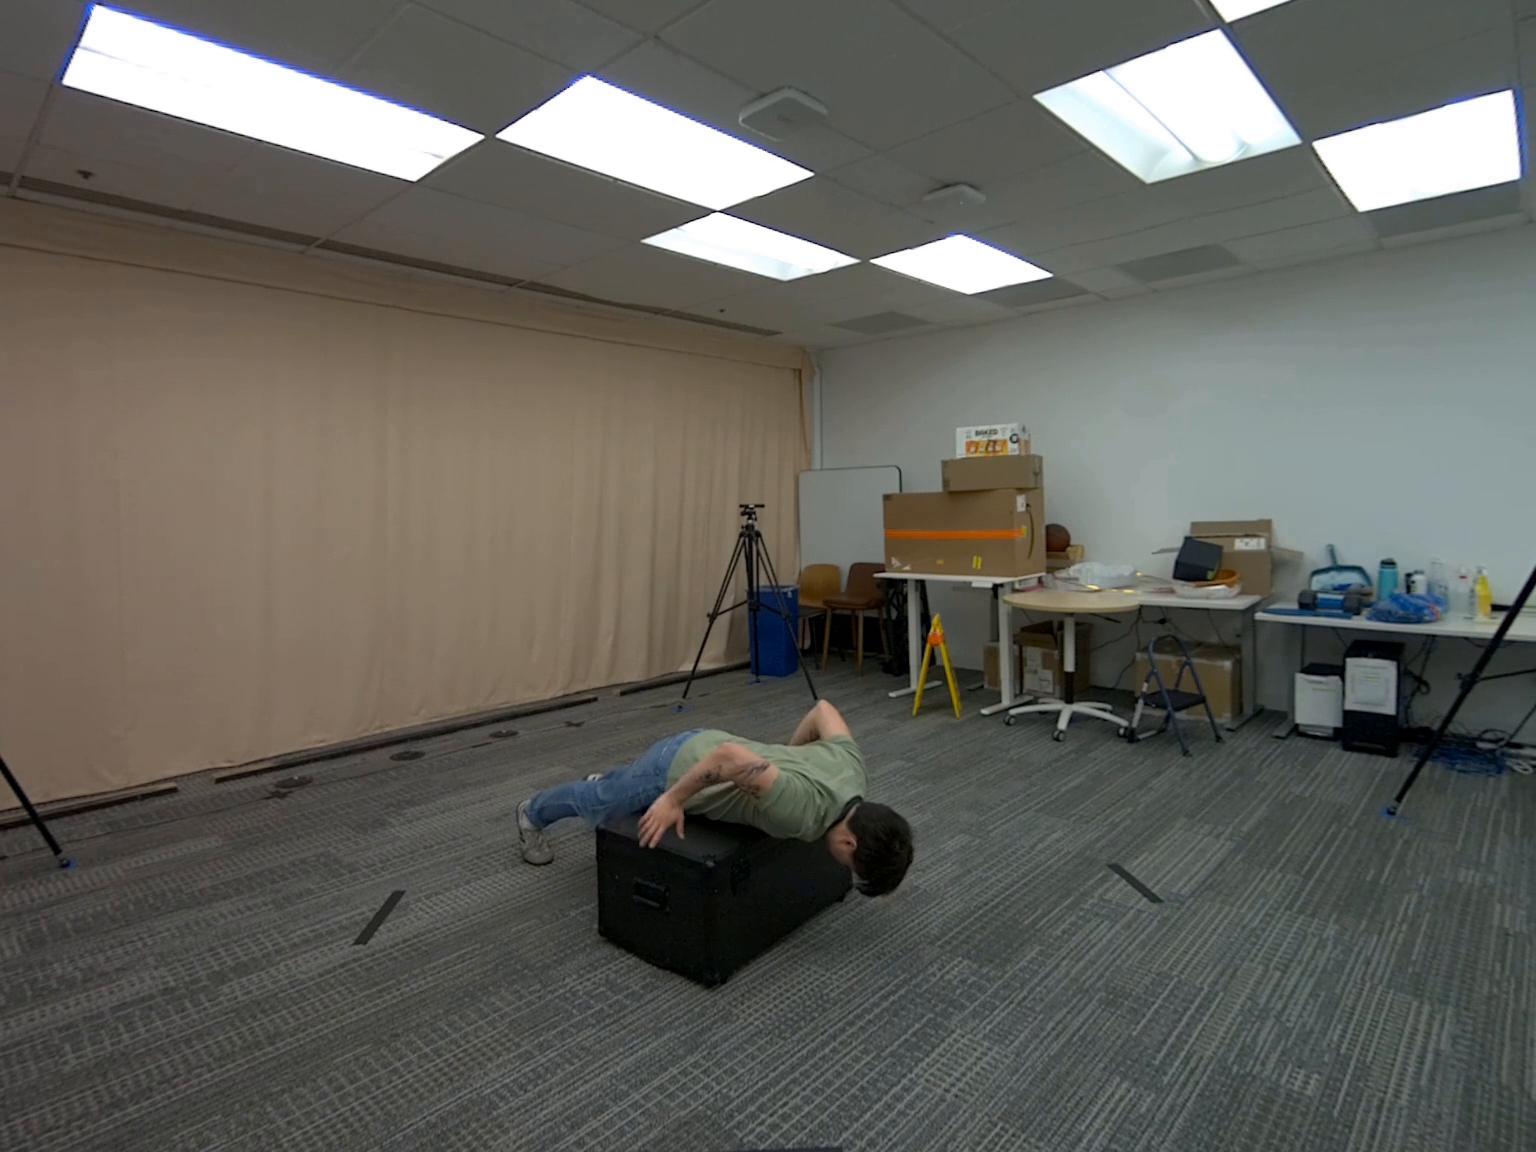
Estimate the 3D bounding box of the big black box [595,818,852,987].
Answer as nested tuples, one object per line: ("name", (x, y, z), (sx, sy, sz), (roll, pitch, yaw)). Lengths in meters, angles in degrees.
("big black box", (-0.096, 0.967, 2.860), (0.538, 0.395, 0.837), (3, 8, 37))
